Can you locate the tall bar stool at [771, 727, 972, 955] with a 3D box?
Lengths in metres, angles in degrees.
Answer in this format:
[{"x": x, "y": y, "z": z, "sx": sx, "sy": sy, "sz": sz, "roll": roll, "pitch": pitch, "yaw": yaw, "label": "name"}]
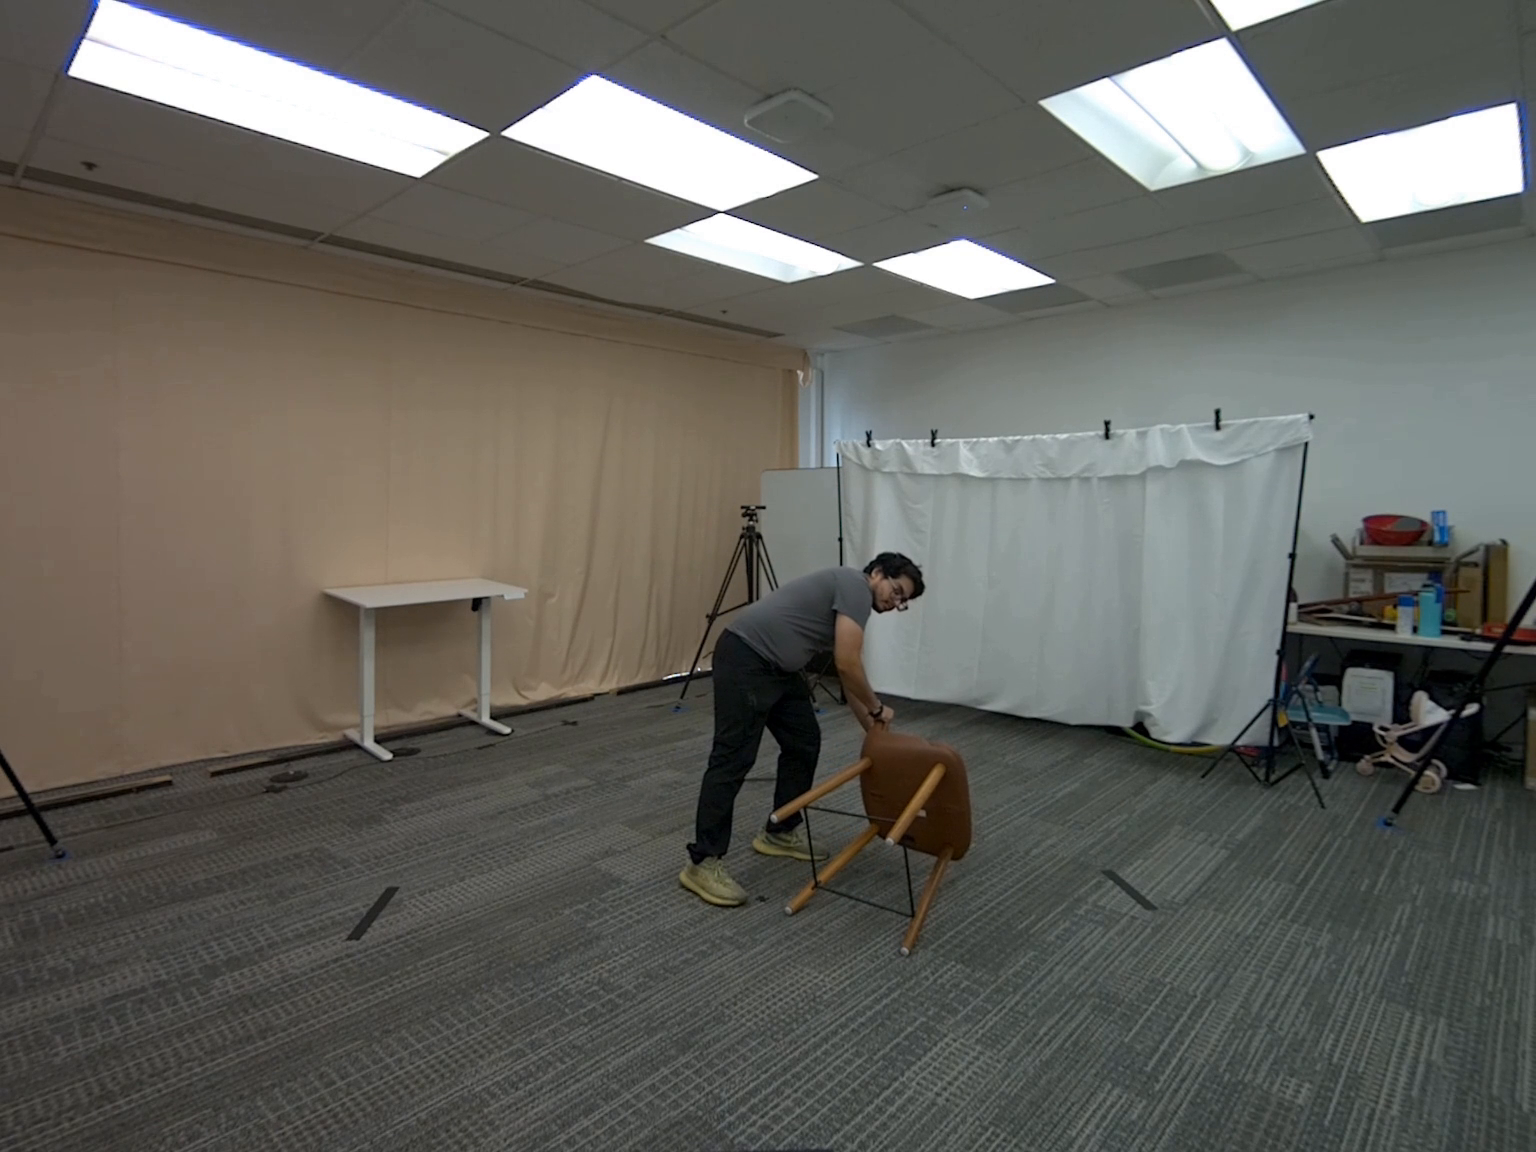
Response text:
[{"x": 0.452, "y": 0.850, "z": 3.029, "sx": 0.482, "sy": 0.452, "sz": 0.872, "roll": 0, "pitch": 16, "yaw": 34, "label": "tall bar stool"}]
